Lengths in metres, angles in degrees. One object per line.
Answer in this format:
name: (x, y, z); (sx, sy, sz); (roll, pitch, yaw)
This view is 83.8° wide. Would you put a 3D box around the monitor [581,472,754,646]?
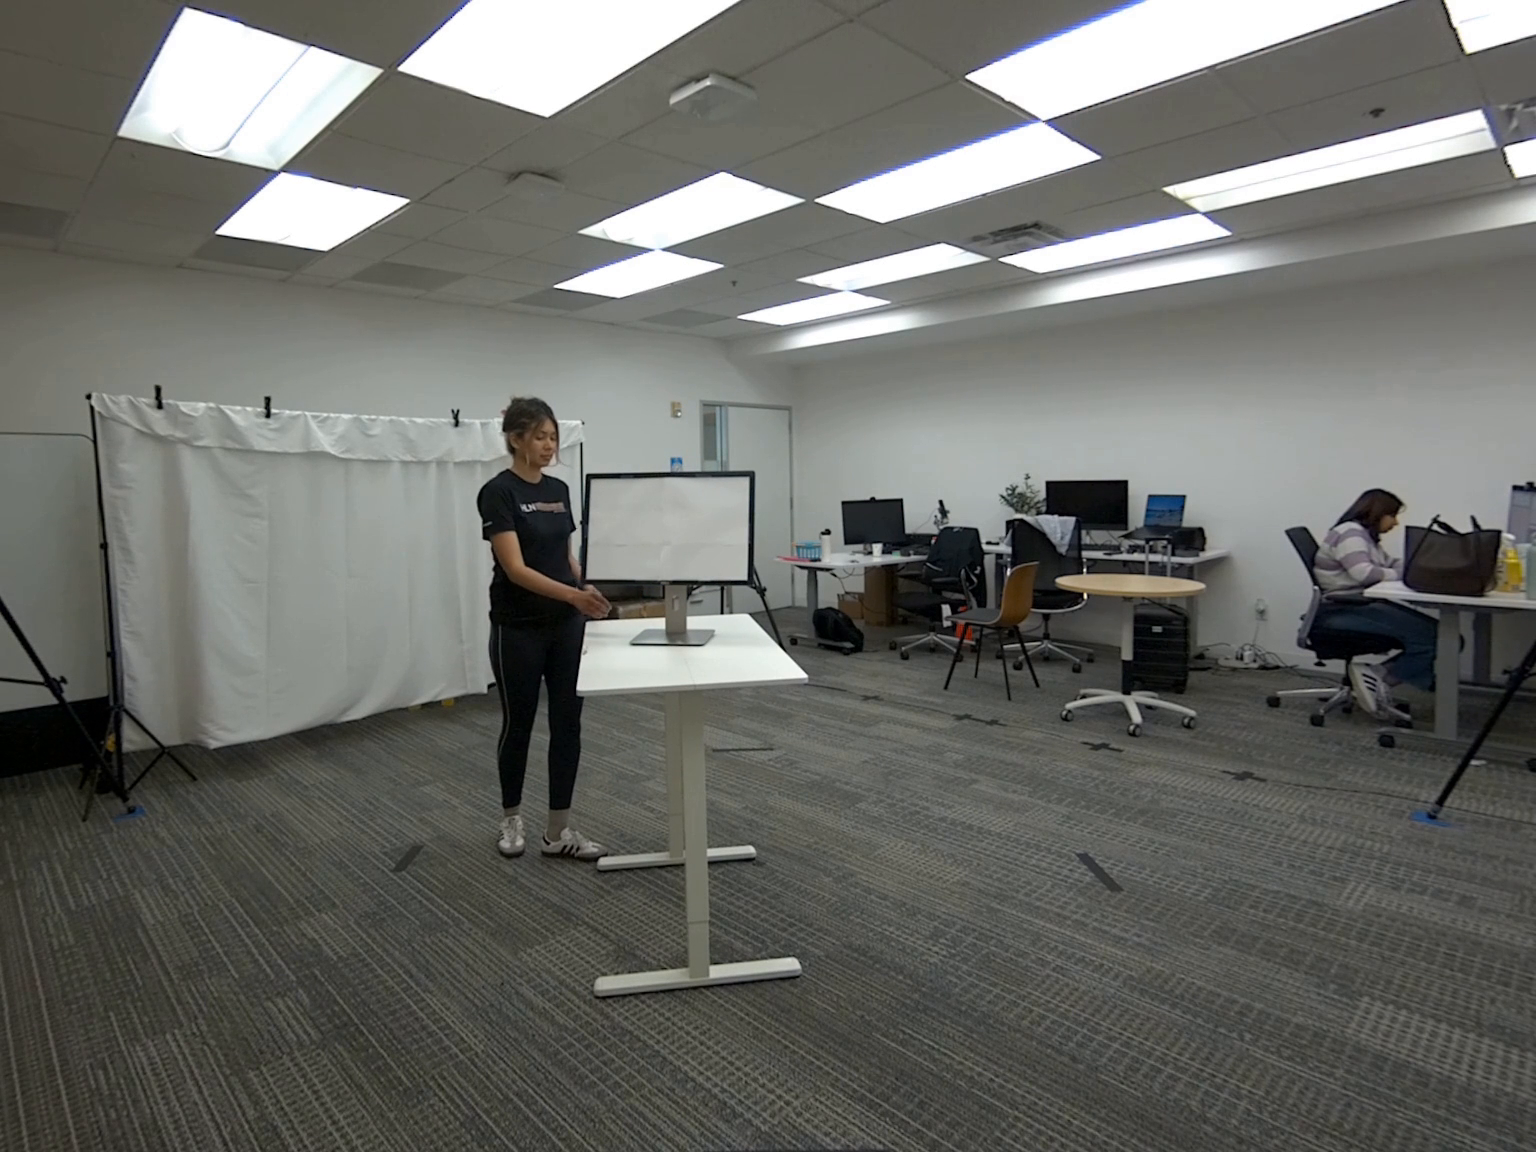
monitor: (-0.307, -0.055, 2.765); (0.543, 0.520, 0.186); (0, 4, 7)
